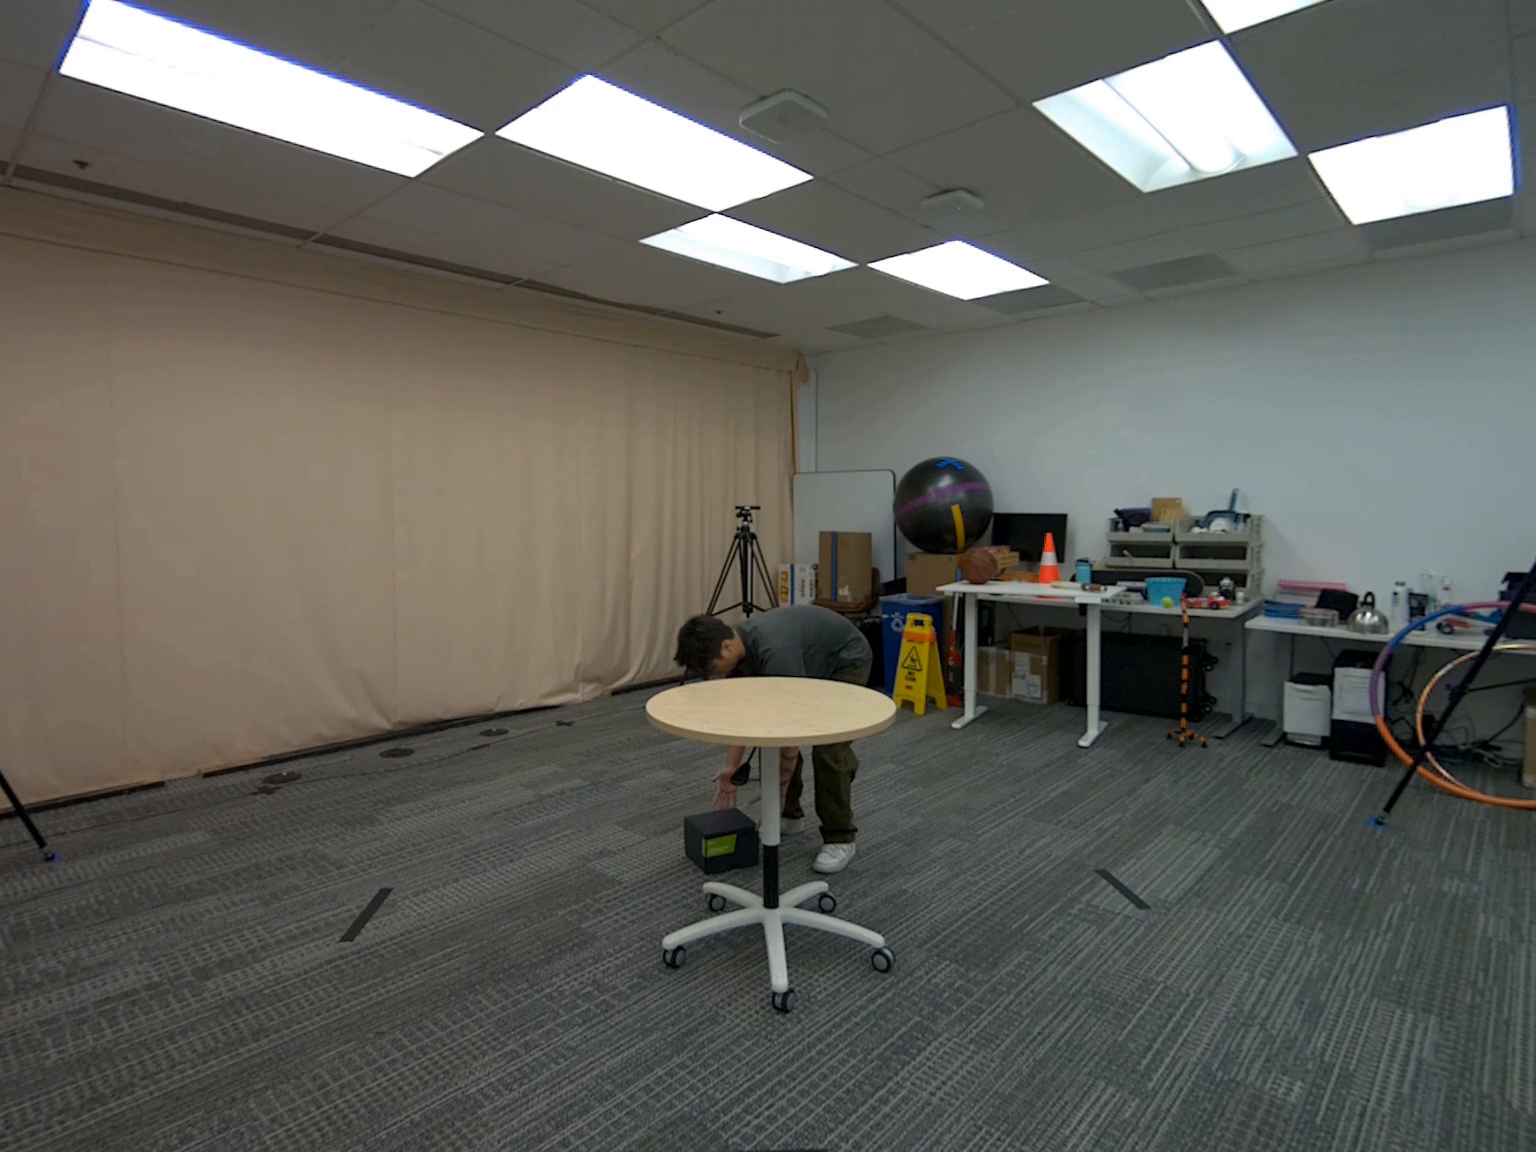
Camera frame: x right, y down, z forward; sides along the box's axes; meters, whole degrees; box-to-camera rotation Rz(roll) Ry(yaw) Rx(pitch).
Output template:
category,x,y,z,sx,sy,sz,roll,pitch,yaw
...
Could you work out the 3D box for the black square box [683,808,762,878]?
category,x,y,z,sx,sy,sz,roll,pitch,yaw
black square box,-0.182,1.035,3.312,0.222,0.155,0.223,-3,4,-27
